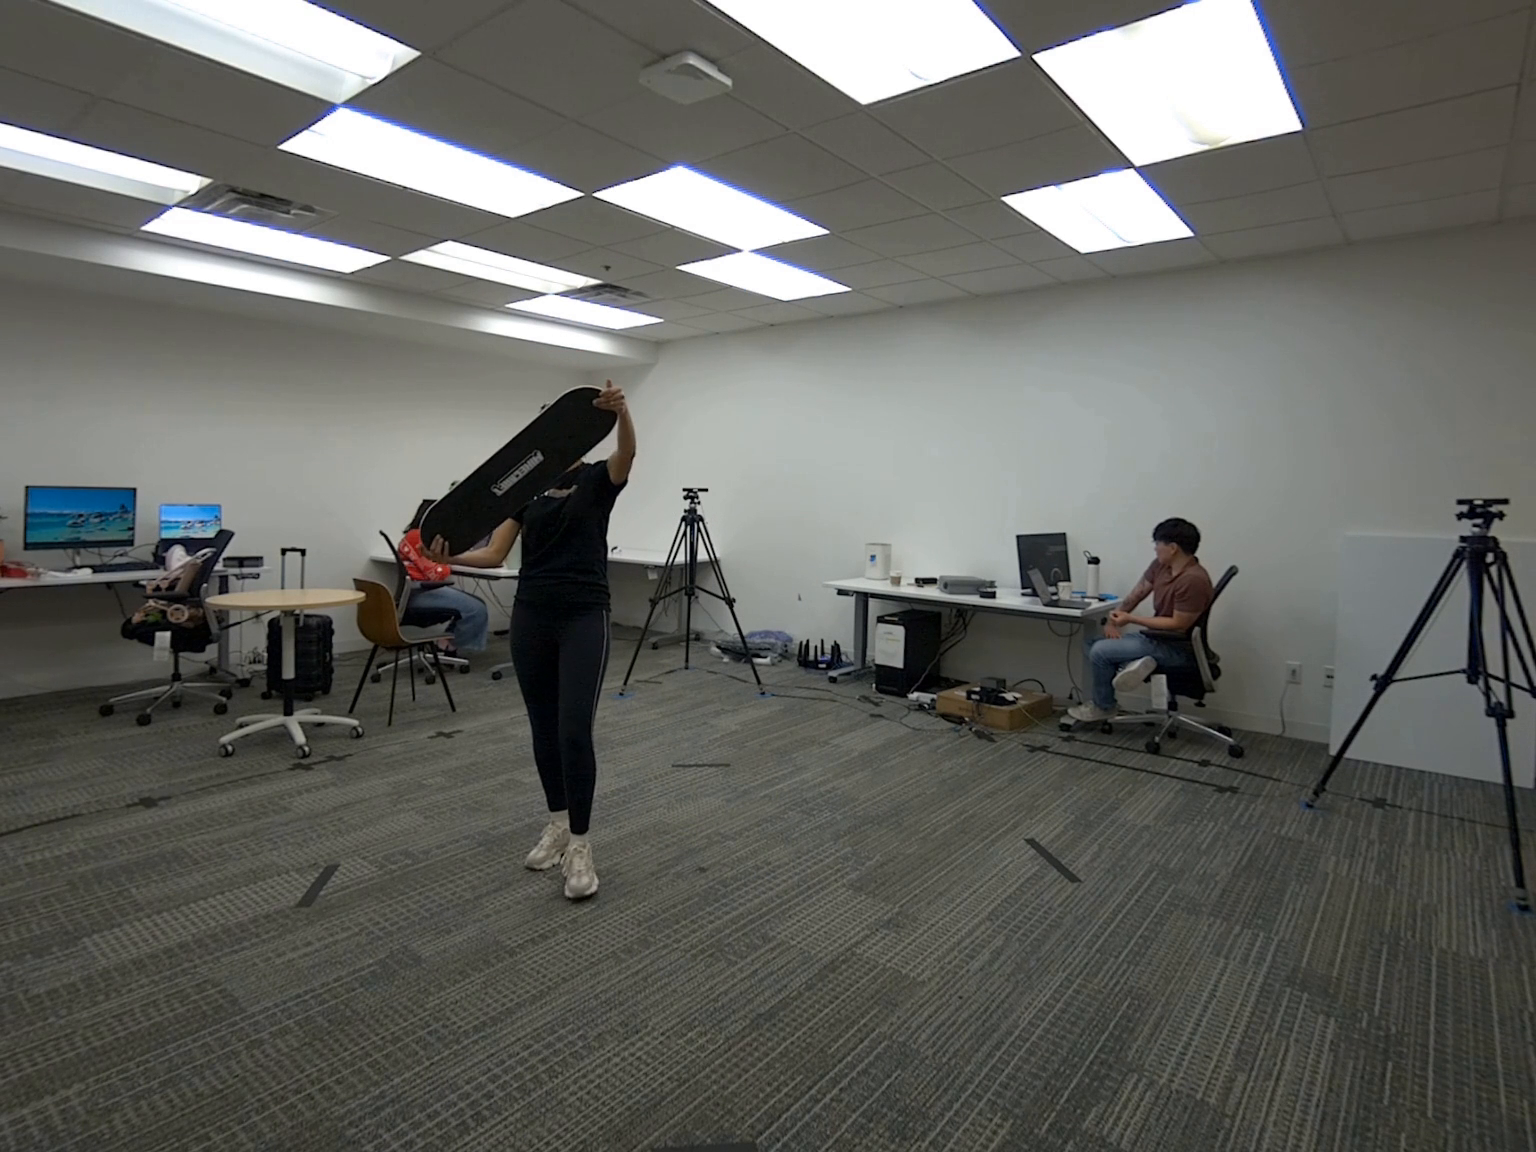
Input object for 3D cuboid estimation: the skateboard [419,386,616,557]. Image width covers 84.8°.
[{"bbox_3d":[-0.818,-0.344,2.715,0.787,0.187,0.114,-39,27,12],"label":"skateboard"}]
